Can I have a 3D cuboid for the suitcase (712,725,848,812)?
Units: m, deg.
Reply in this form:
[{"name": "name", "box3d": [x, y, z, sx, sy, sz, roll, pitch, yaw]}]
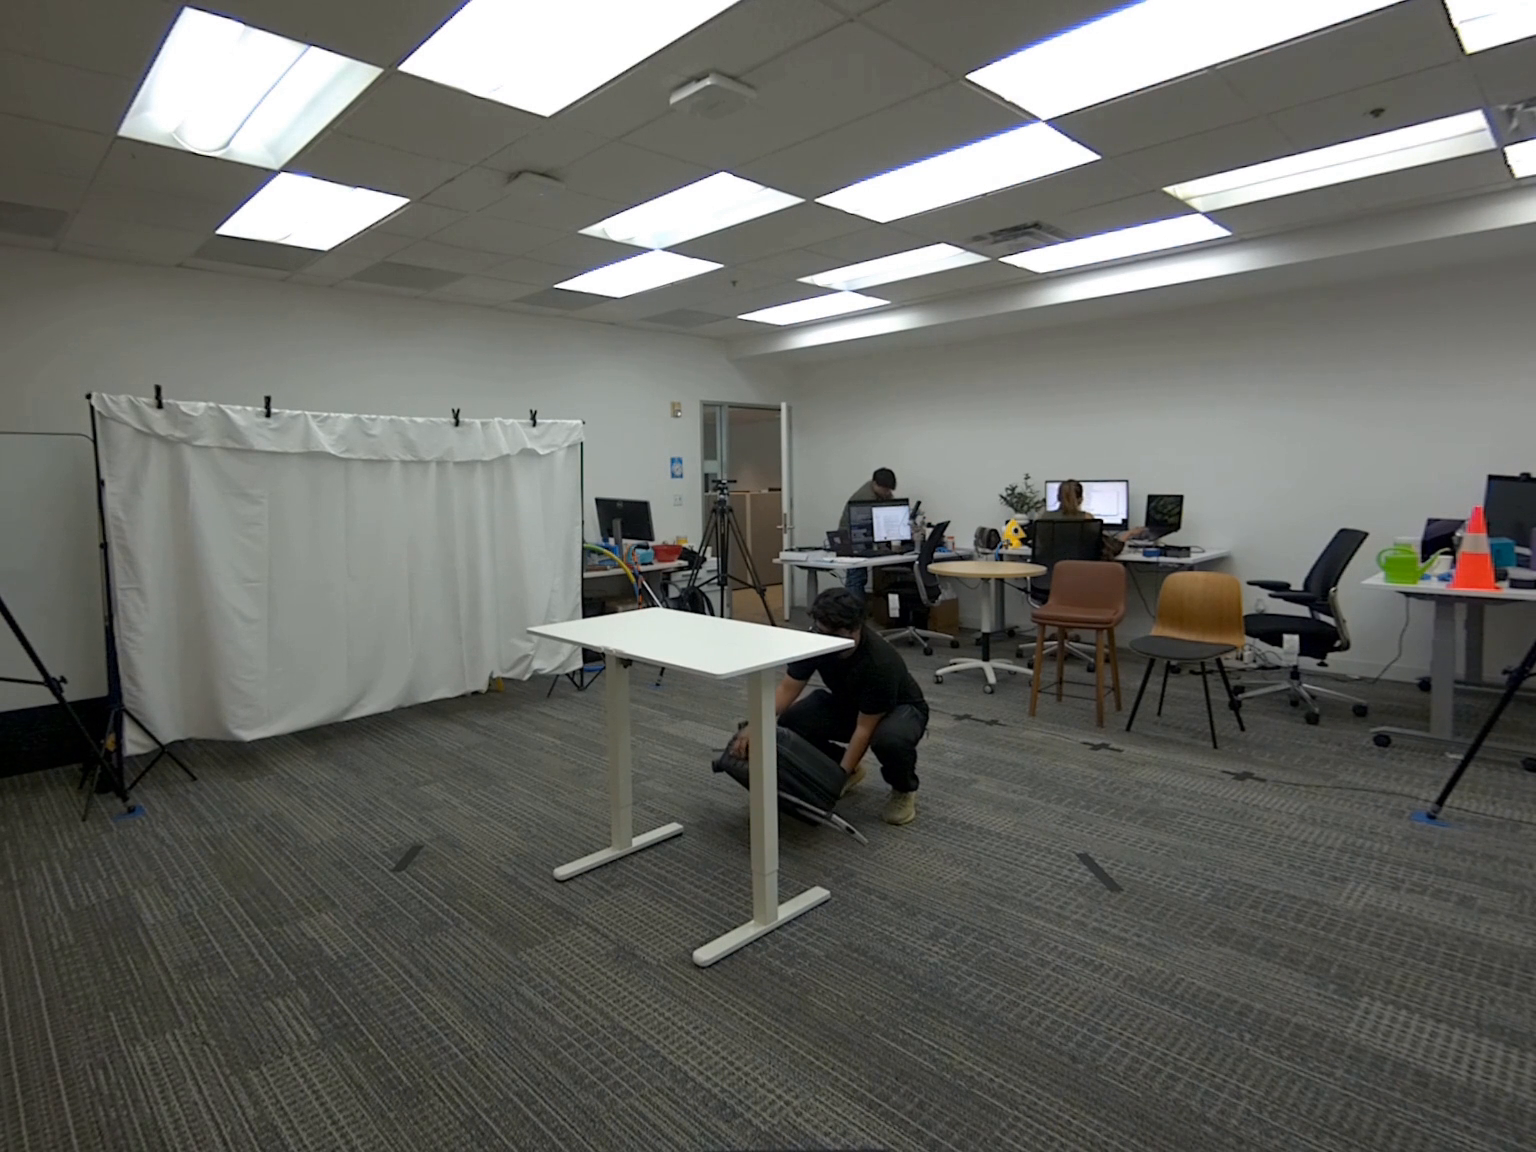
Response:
[{"name": "suitcase", "box3d": [0.125, 0.767, 3.258, 0.377, 0.257, 0.993, 42, -18, -14]}]
